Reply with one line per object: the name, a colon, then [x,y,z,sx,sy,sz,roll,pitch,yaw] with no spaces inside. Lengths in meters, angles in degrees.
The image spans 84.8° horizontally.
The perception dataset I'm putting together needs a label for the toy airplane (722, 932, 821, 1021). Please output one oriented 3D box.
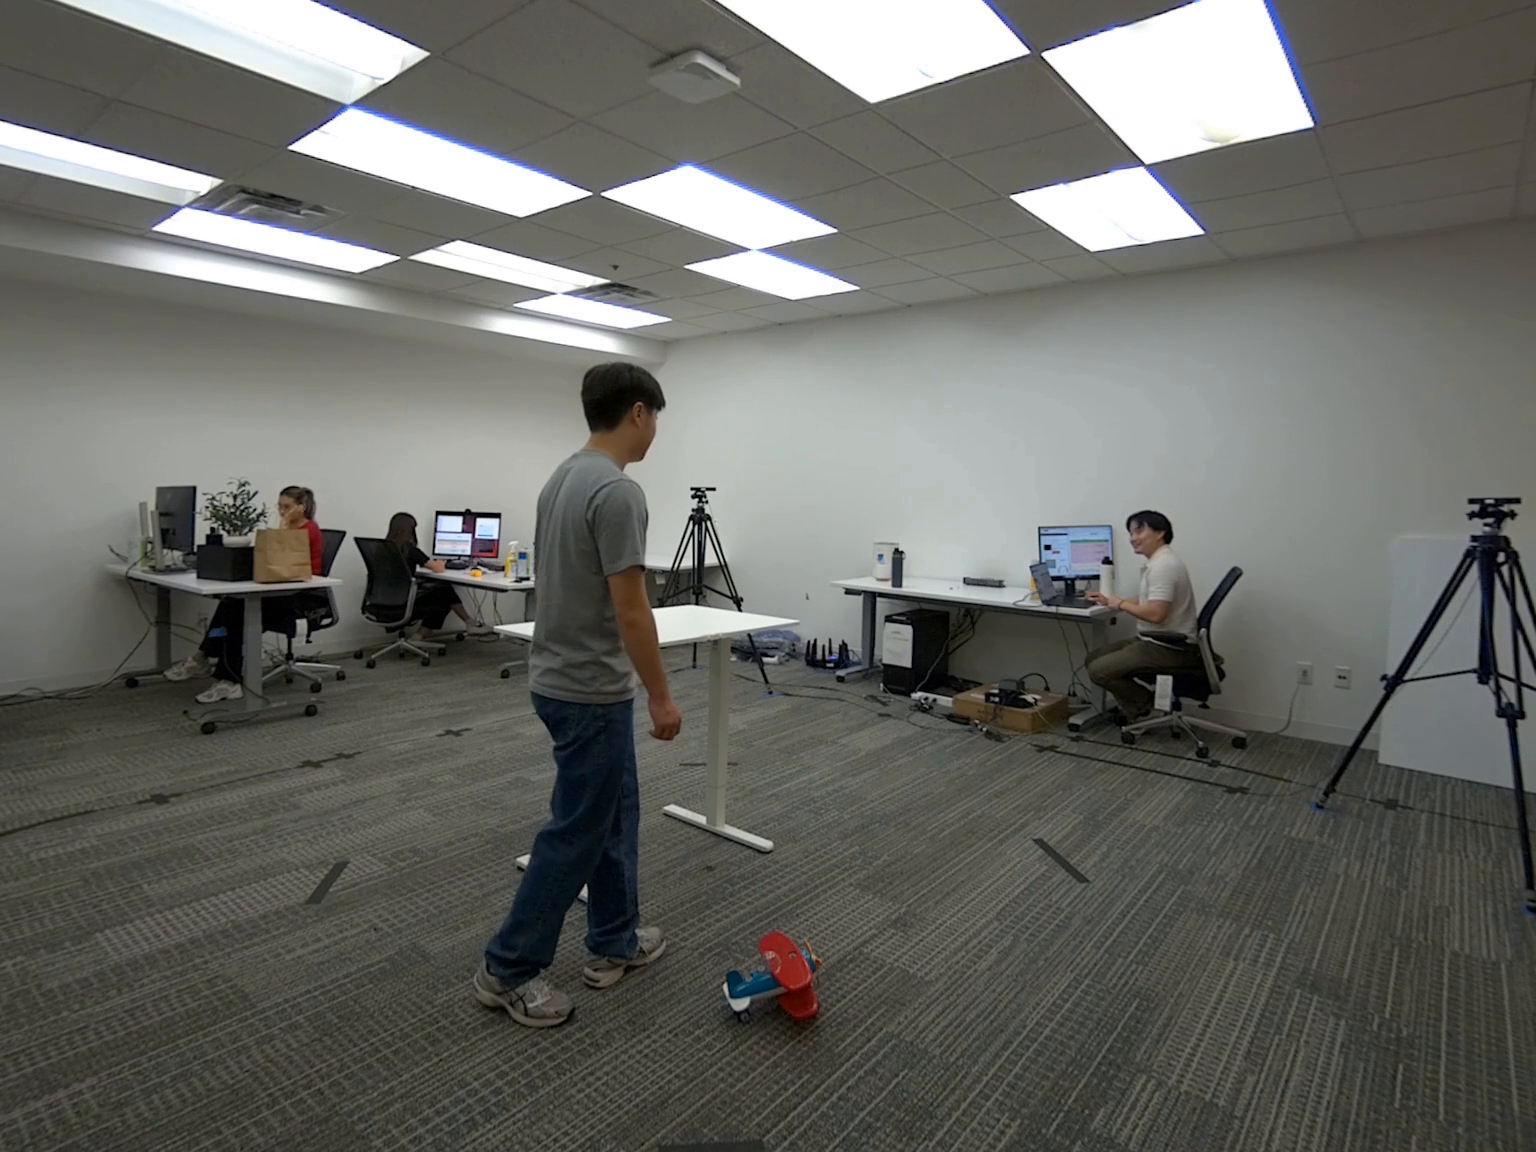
toy airplane: [0.020,1.089,2.234,0.260,0.156,0.251,6,5,44]
